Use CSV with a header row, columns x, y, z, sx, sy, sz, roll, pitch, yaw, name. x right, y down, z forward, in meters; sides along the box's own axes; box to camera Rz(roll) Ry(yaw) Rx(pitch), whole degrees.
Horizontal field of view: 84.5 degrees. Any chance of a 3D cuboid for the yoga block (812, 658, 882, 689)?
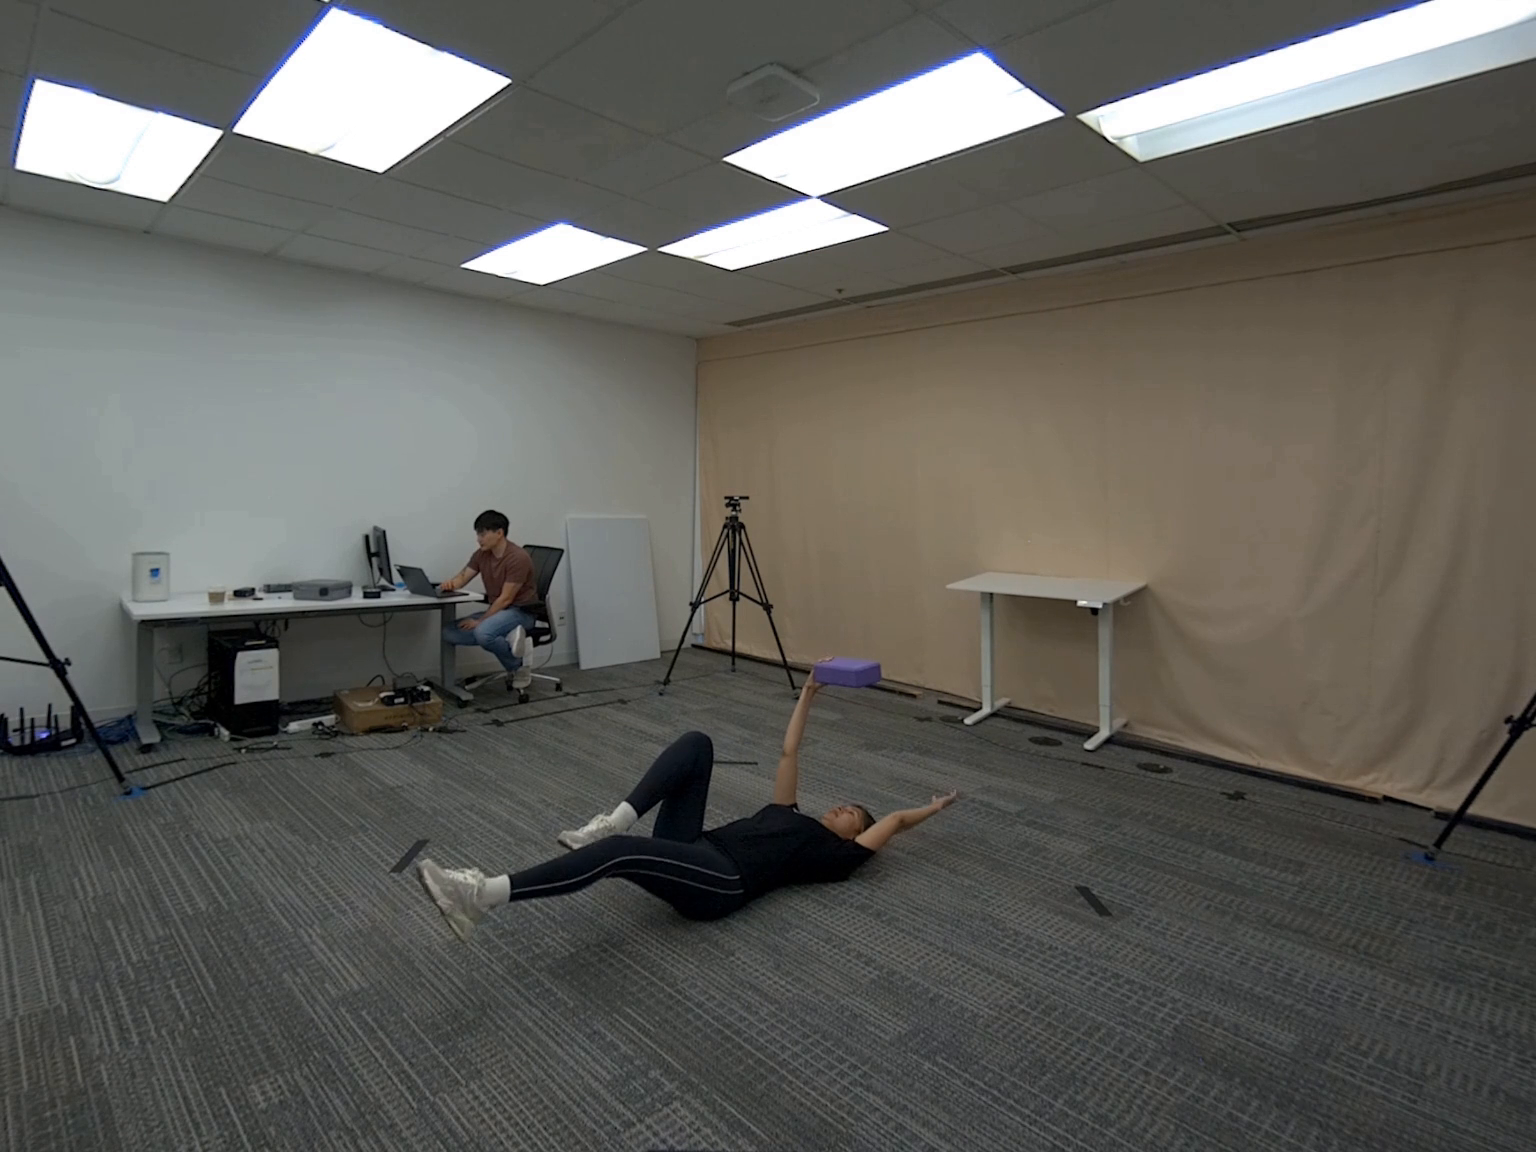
x,y,z,sx,sy,sz,roll,pitch,yaw,name
0.283,0.372,3.292,0.146,0.076,0.234,-10,6,-40,yoga block
